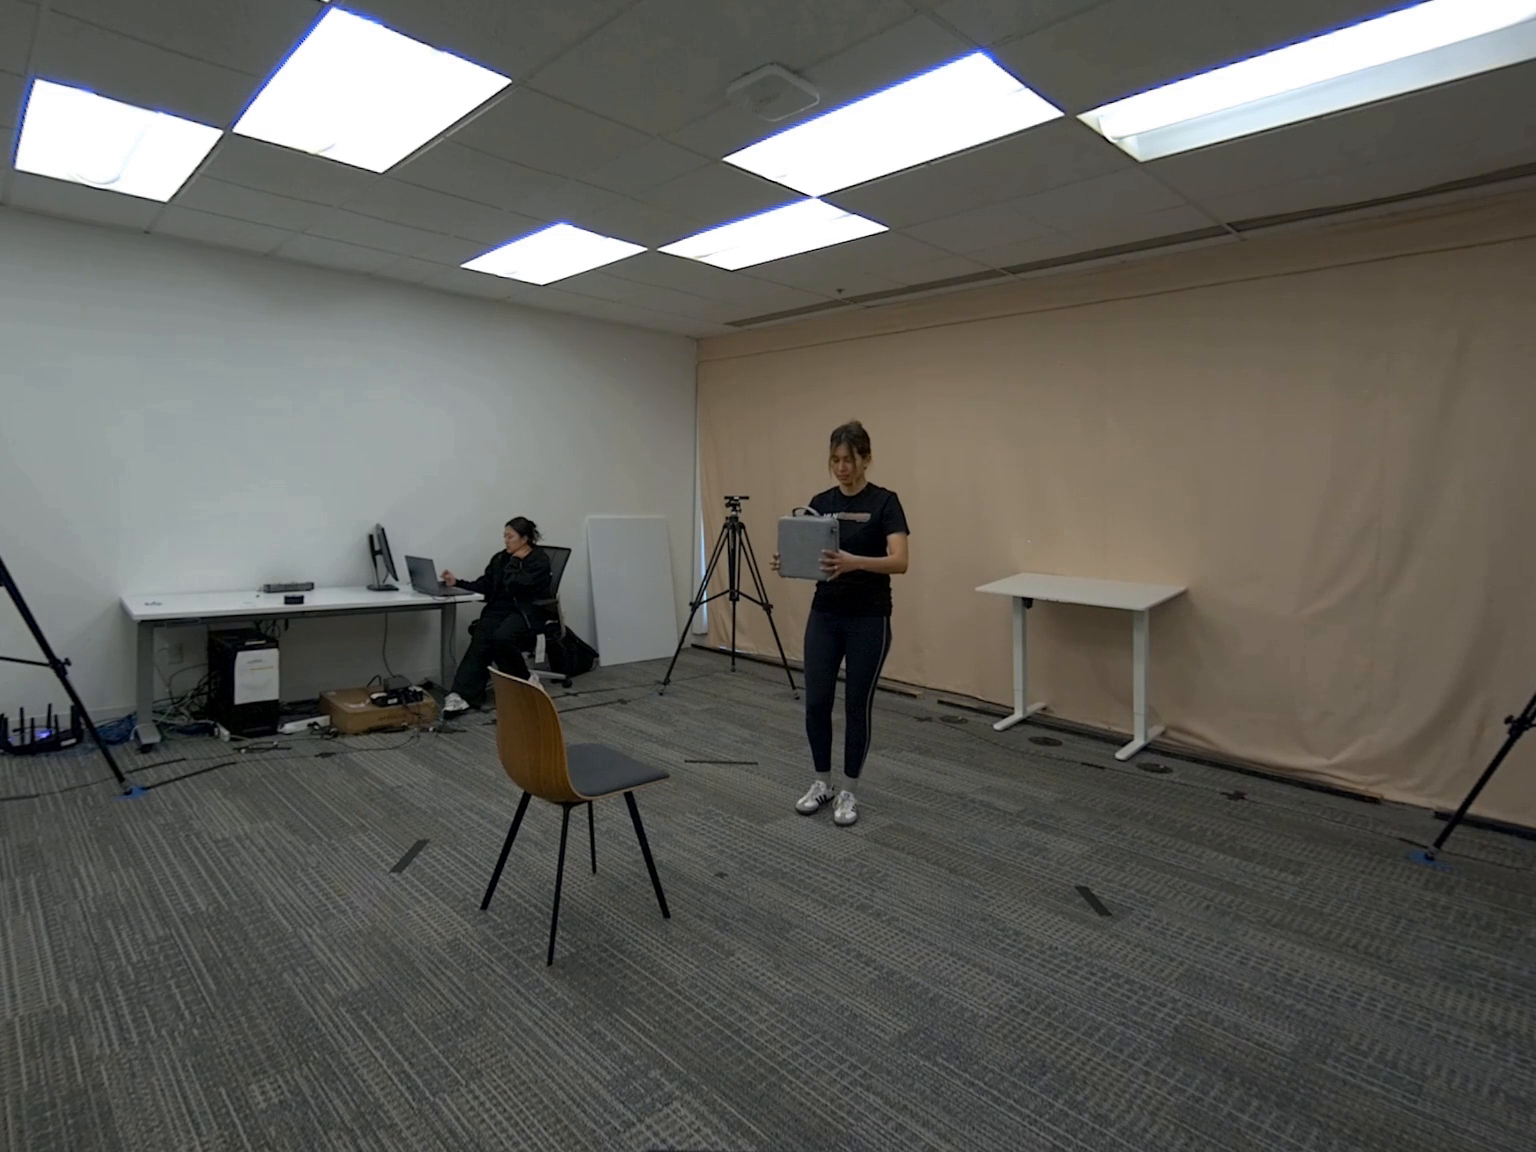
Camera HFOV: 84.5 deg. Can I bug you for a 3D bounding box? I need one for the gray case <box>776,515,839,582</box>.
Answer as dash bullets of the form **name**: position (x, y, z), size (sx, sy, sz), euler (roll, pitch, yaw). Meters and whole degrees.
- **gray case**: position (0.159, -0.121, 3.405), size (0.263, 0.259, 0.102), euler (4, 8, 38)
